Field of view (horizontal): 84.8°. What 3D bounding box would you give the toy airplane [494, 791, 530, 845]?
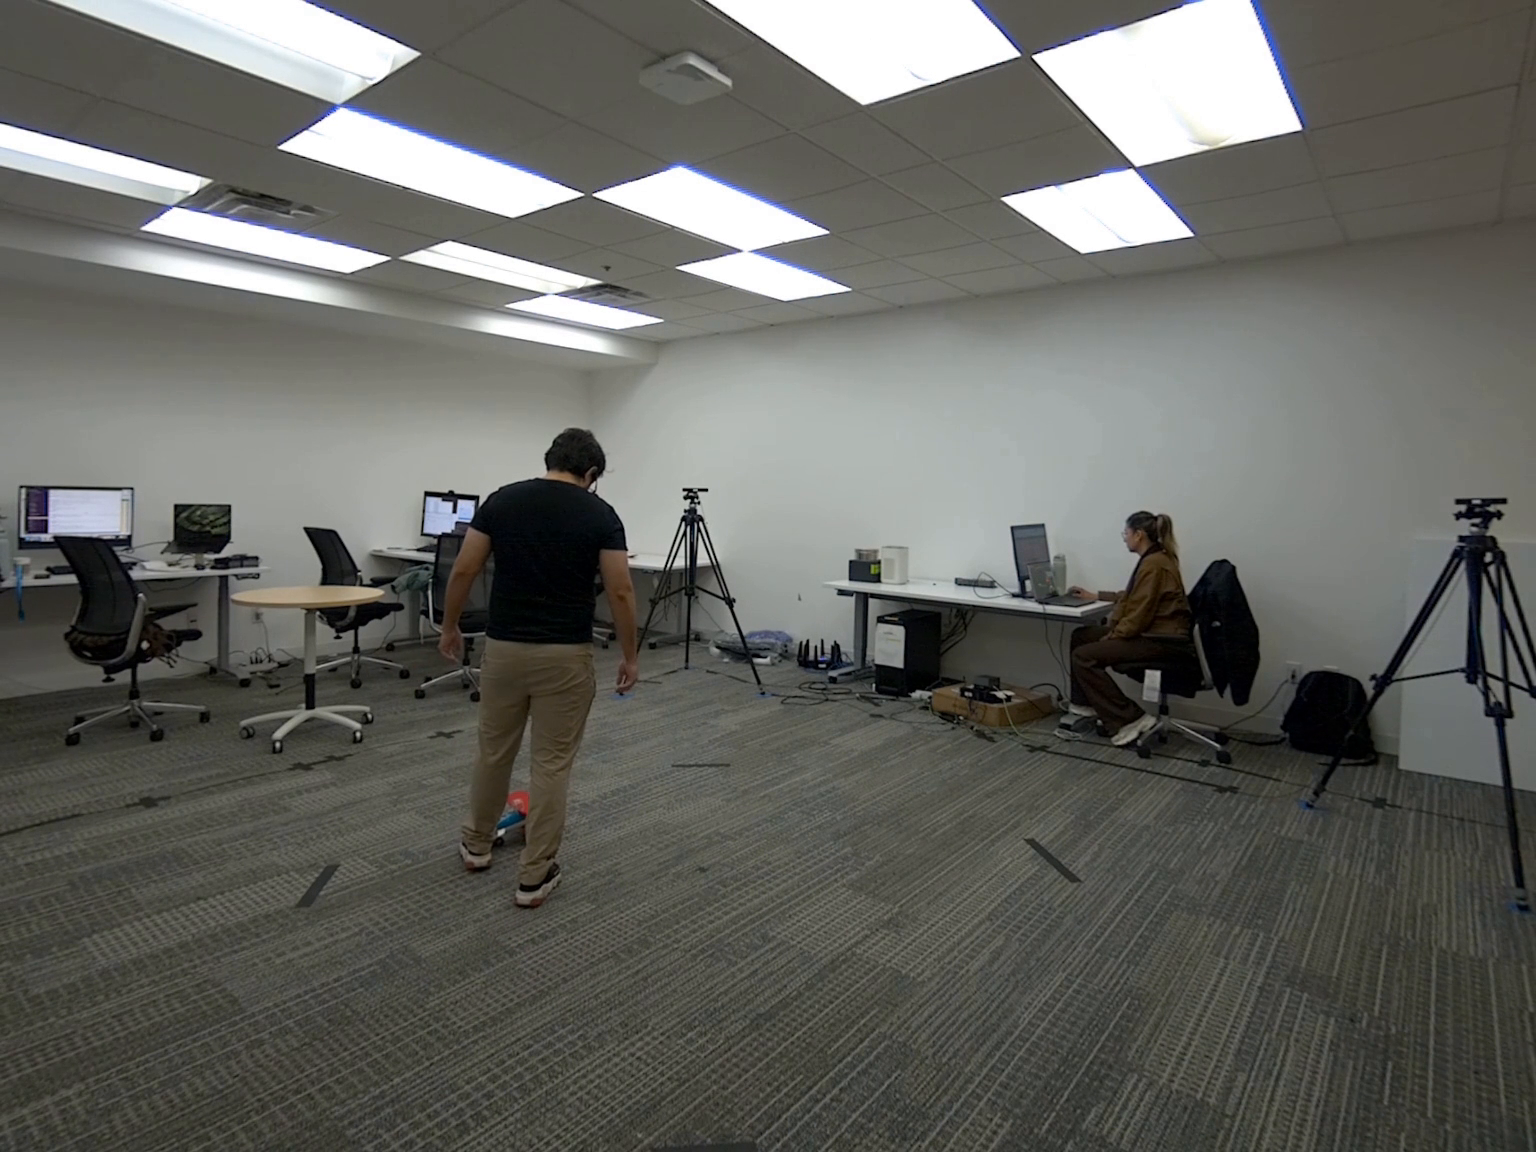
[{"bbox_3d":[-0.978,0.960,3.335,0.257,0.156,0.254,2,4,21],"label":"toy airplane"}]
